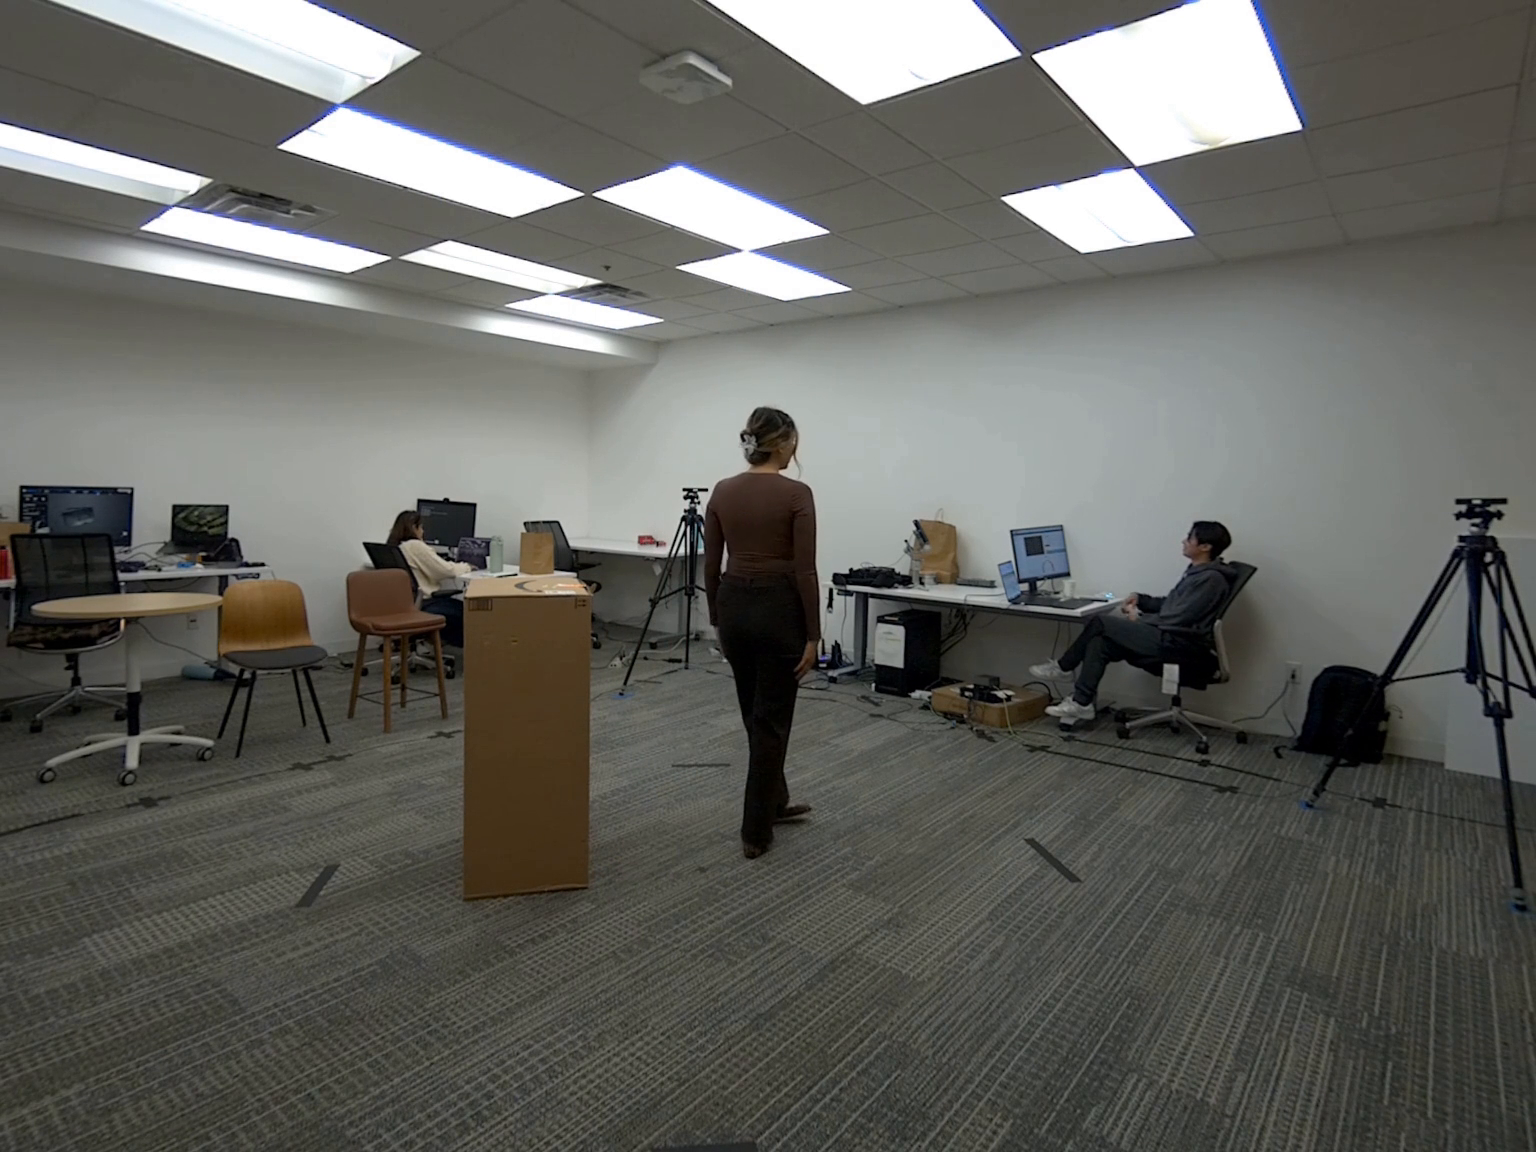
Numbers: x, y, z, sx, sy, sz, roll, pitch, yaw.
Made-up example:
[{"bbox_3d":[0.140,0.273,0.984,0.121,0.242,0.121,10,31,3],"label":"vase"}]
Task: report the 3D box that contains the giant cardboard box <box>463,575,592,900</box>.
[{"bbox_3d":[-0.910,0.540,3.145,0.440,1.024,0.595,0,3,-15],"label":"giant cardboard box"}]
